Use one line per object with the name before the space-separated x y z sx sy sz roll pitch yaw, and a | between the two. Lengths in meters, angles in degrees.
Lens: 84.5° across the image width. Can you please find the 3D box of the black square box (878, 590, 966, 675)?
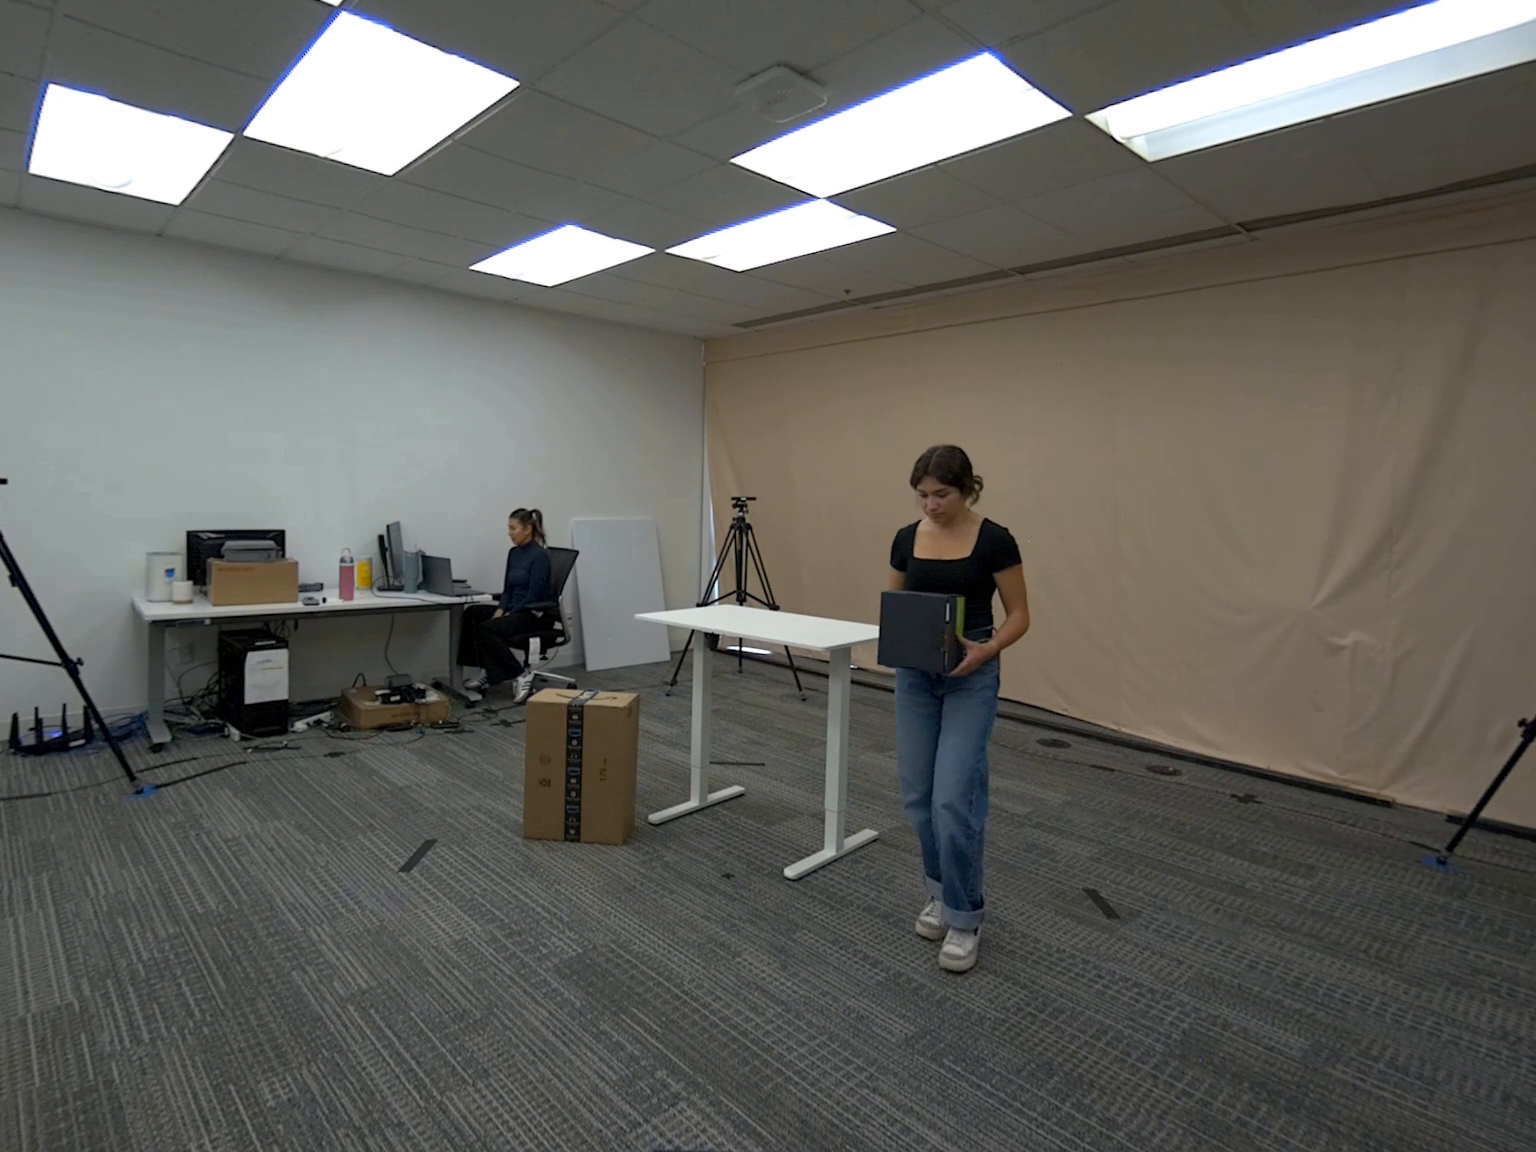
black square box | 0.462 0.162 2.556 0.222 0.228 0.152 4 1 34
